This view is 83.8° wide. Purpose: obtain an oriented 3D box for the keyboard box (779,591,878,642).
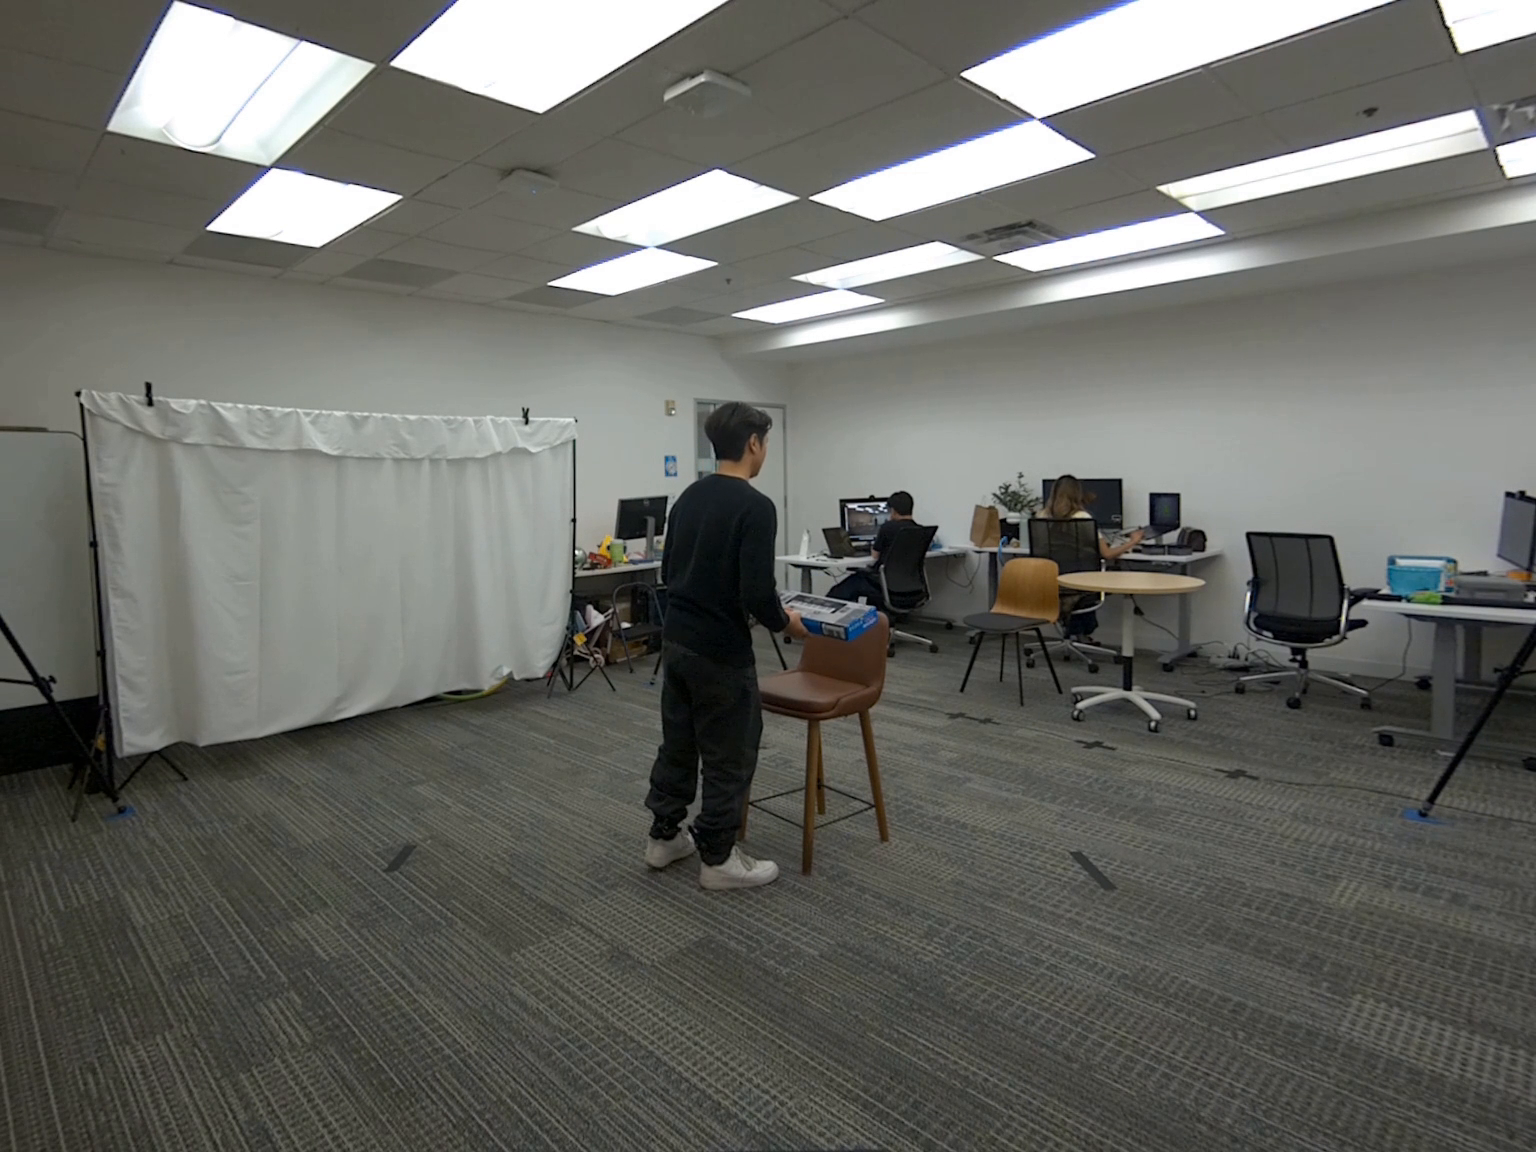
[{"bbox_3d":[0.157,0.134,3.015,0.451,0.058,0.173,10,27,43],"label":"keyboard box"}]
